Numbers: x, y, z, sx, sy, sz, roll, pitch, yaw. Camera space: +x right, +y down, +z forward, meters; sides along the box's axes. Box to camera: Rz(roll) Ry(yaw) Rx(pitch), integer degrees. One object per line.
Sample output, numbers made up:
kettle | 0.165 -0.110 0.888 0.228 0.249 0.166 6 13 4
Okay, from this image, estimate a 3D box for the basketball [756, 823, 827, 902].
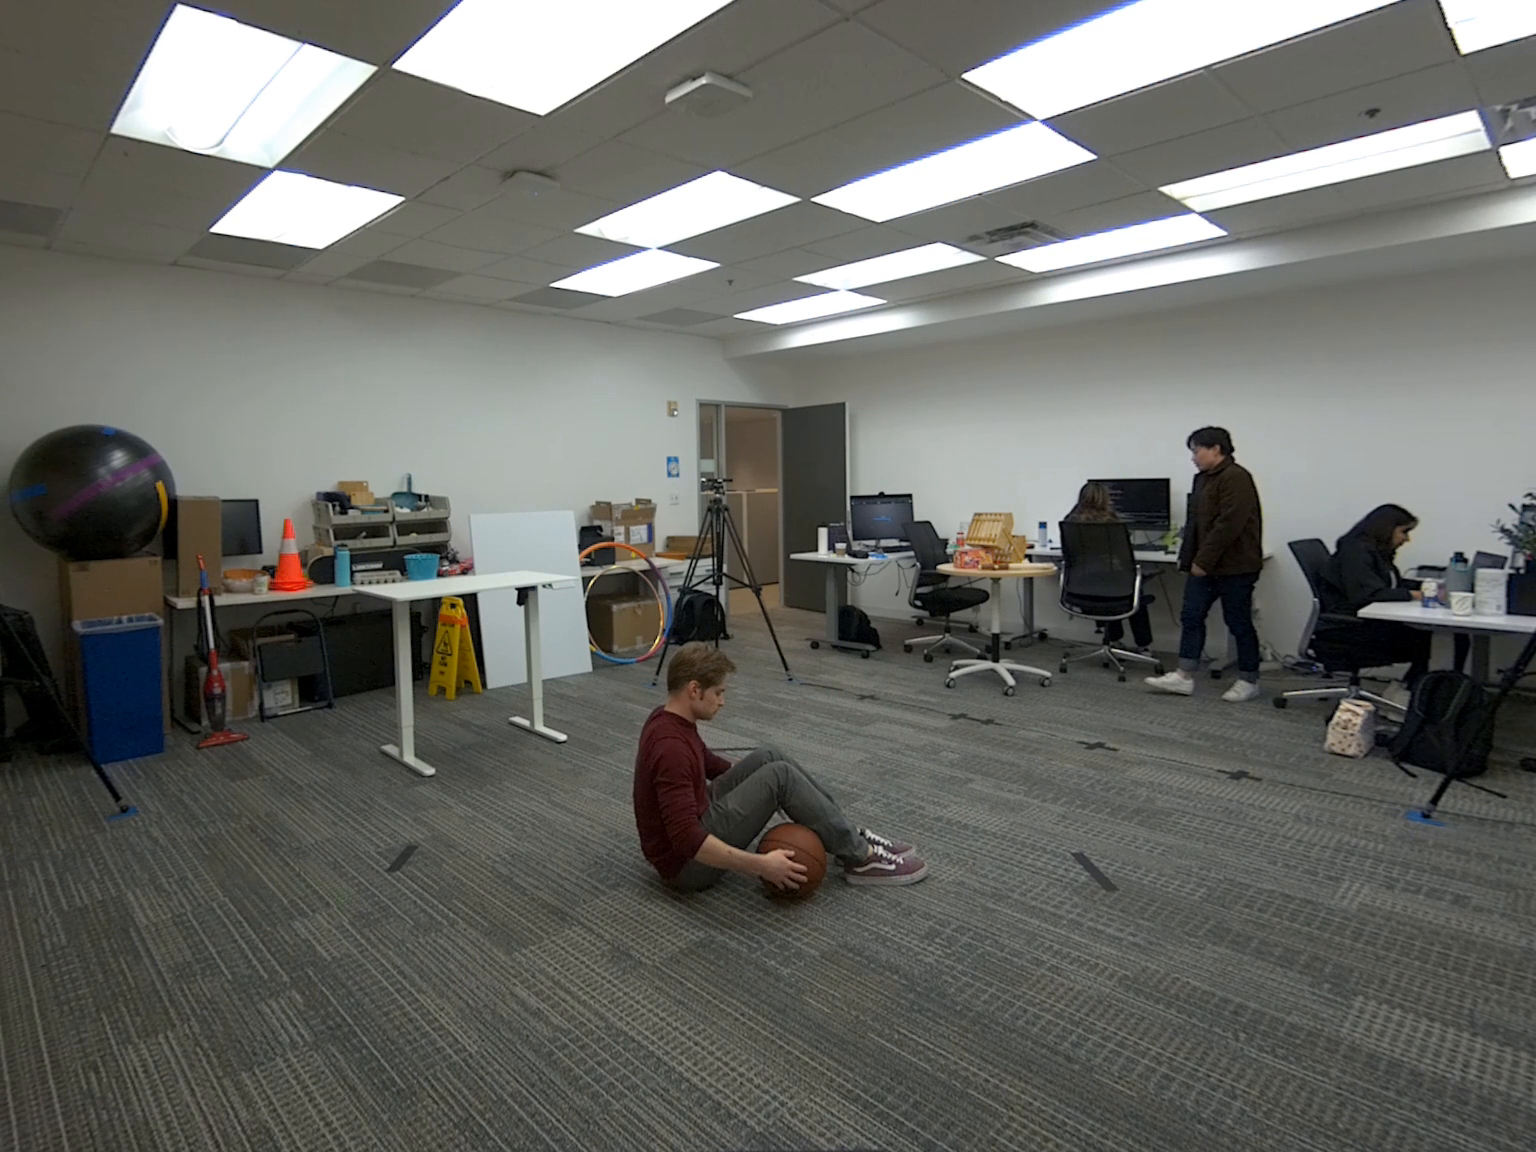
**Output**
basketball | 0.069 0.945 2.867 0.236 0.235 0.237 -1 5 -2
